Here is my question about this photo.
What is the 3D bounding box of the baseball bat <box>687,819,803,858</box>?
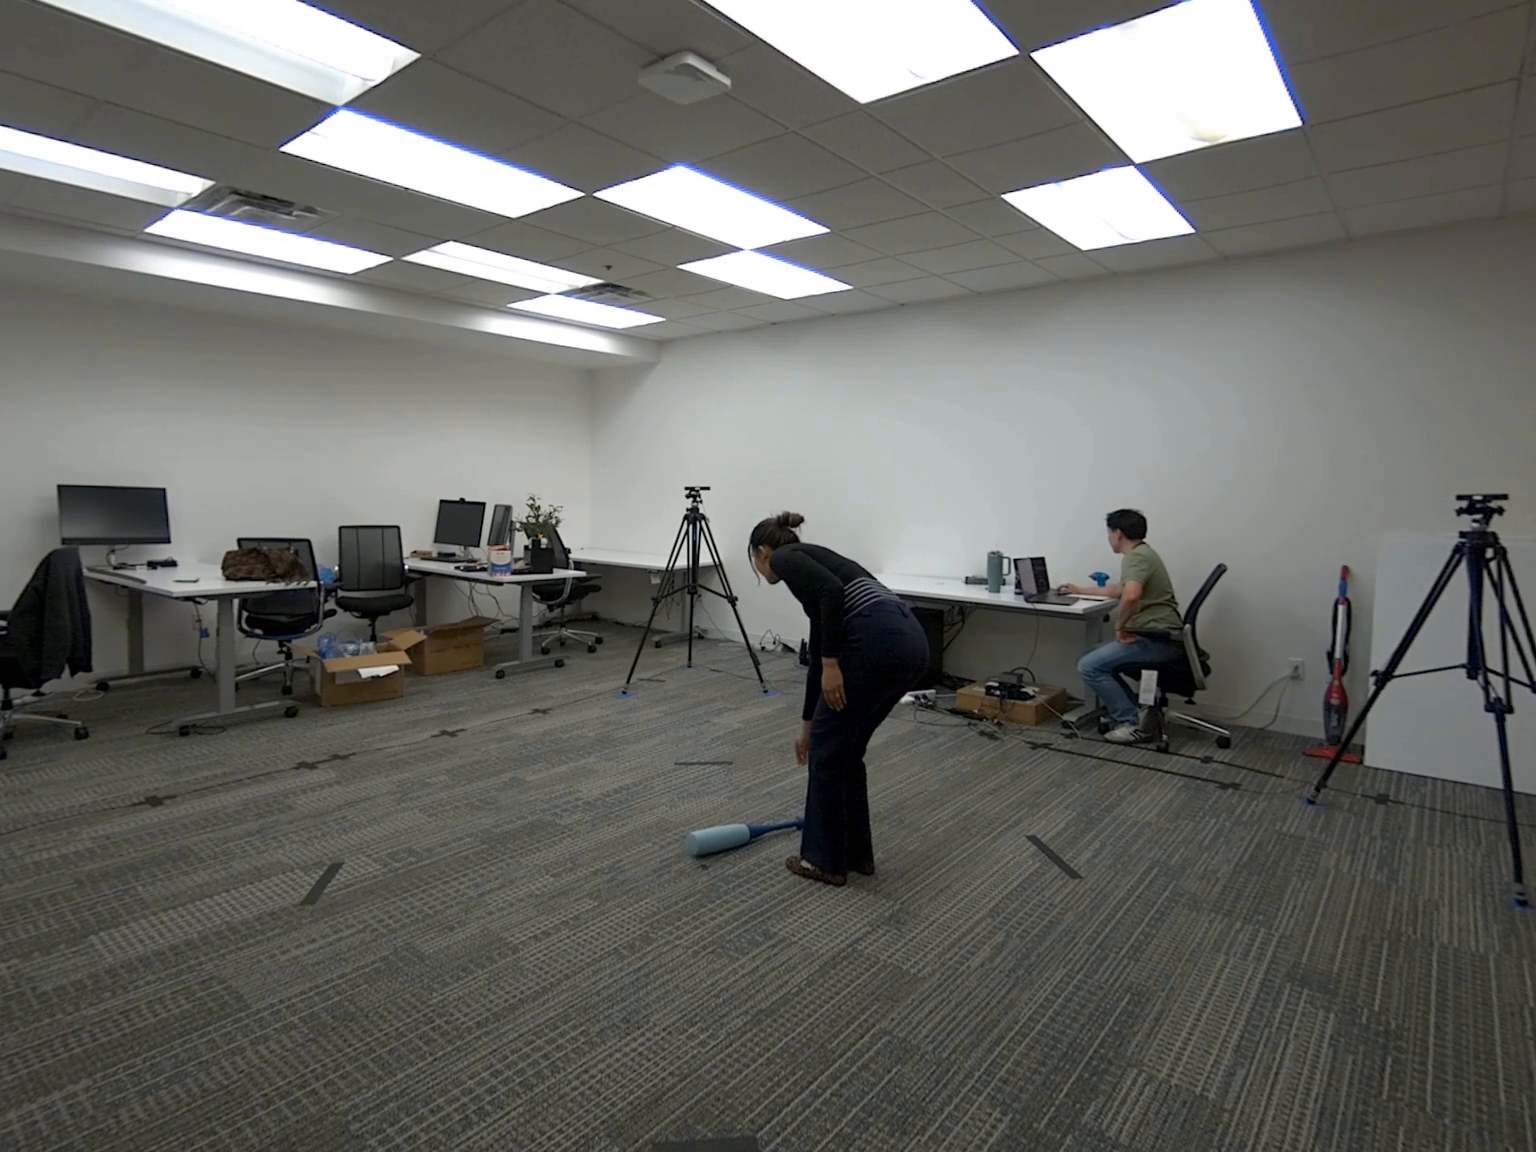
[{"bbox_3d":[-0.087,1.007,3.339,0.527,0.089,0.092,1,3,-34],"label":"baseball bat"}]
